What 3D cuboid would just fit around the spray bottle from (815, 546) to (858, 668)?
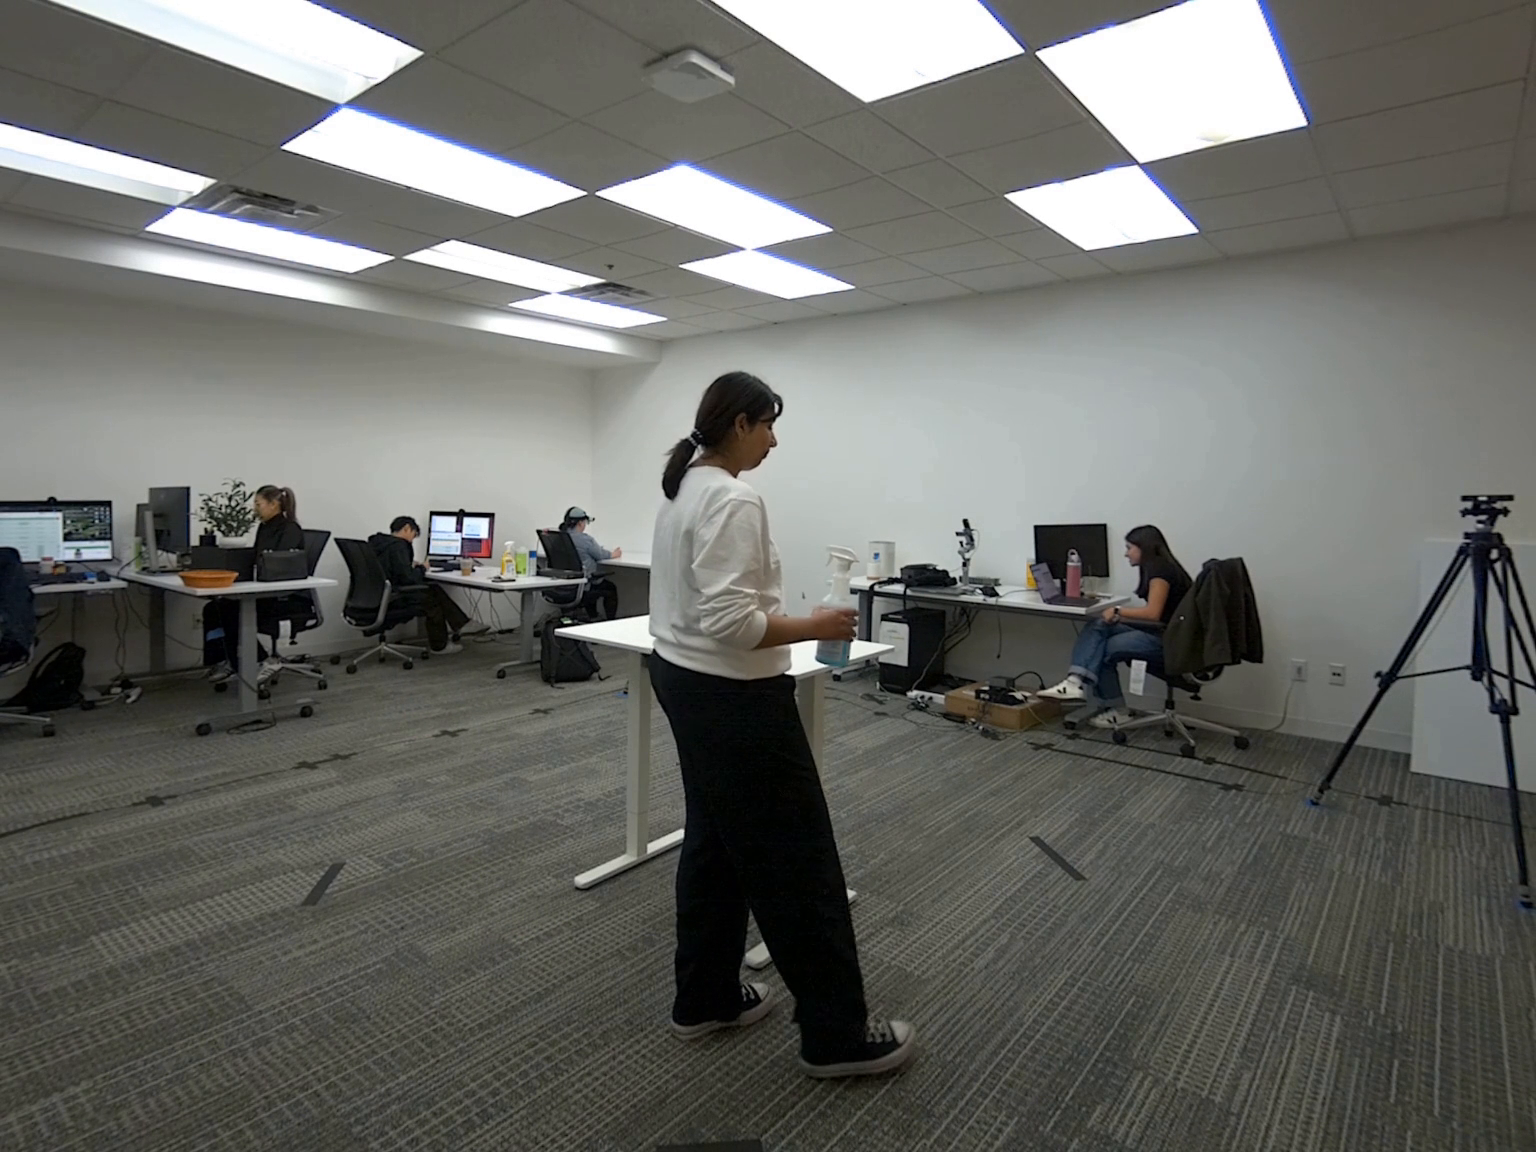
[{"bbox_3d":[0.178,0.081,2.138,0.084,0.297,0.093,3,3,-41],"label":"spray bottle"}]
